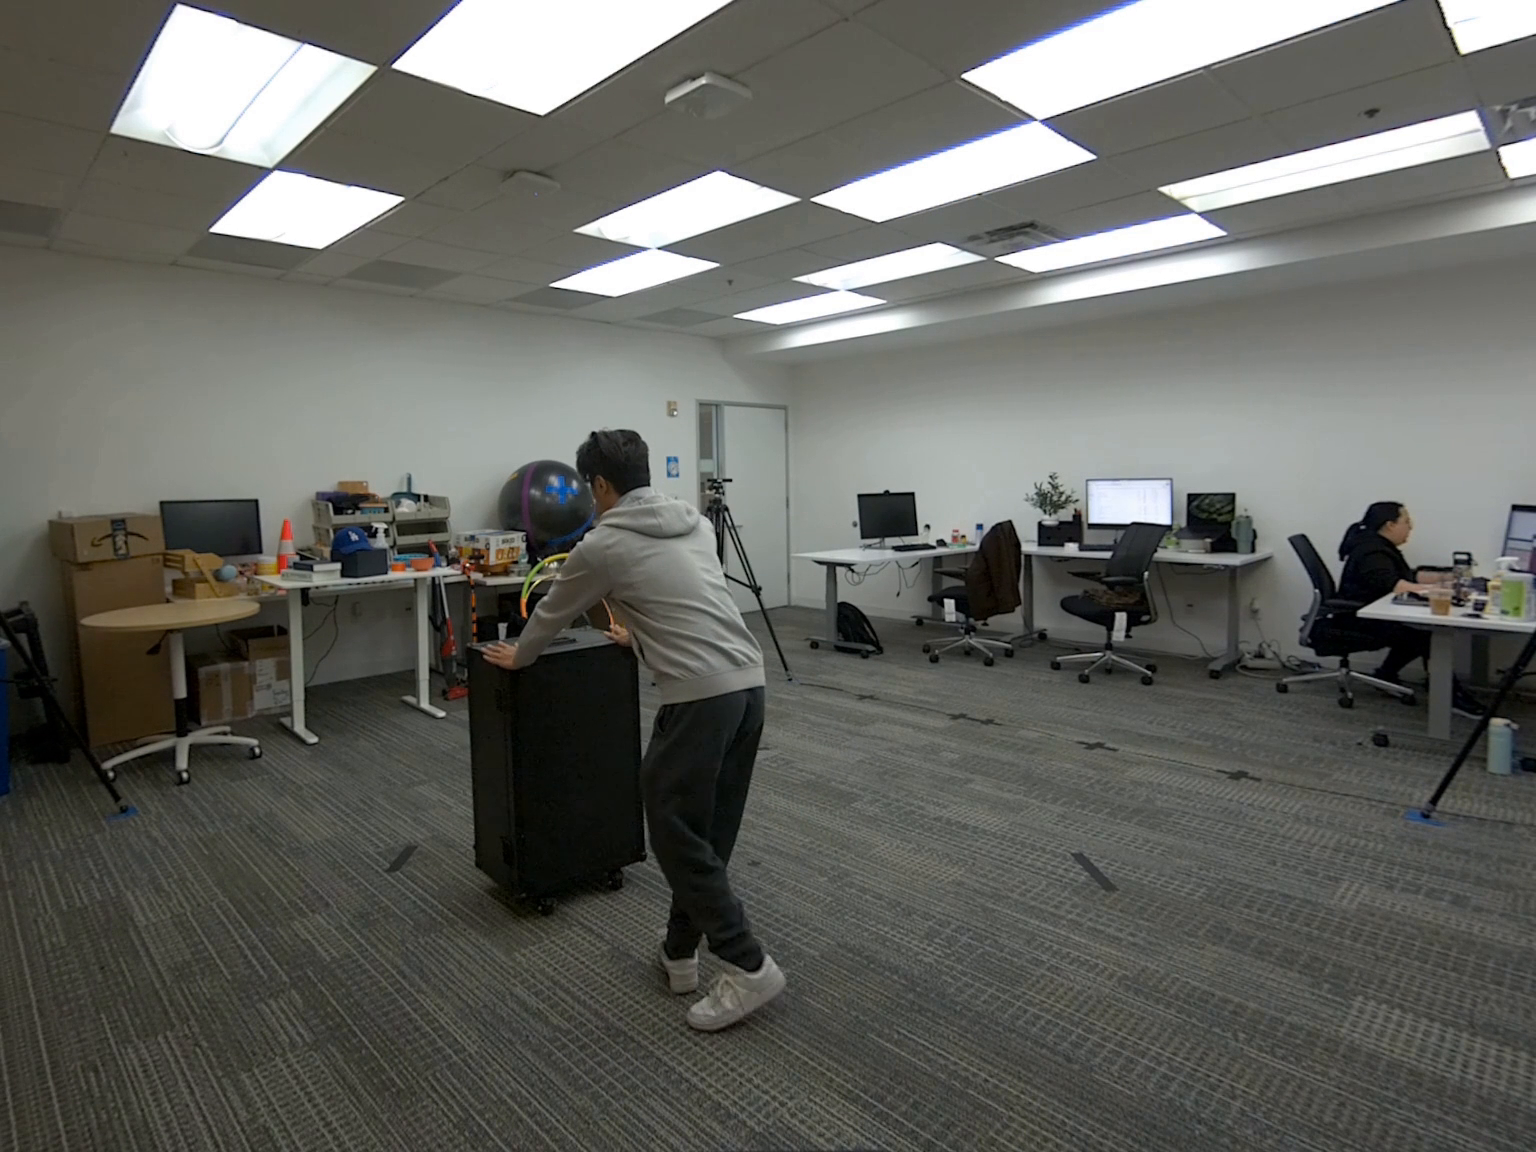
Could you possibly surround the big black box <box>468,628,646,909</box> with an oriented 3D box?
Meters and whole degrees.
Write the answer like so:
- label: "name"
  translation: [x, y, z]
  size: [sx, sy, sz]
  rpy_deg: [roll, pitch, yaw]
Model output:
- label: "big black box"
  translation: [-0.738, 0.649, 2.965]
  size: [0.508, 0.859, 0.408]
  rpy_deg: [-5, 4, -39]
